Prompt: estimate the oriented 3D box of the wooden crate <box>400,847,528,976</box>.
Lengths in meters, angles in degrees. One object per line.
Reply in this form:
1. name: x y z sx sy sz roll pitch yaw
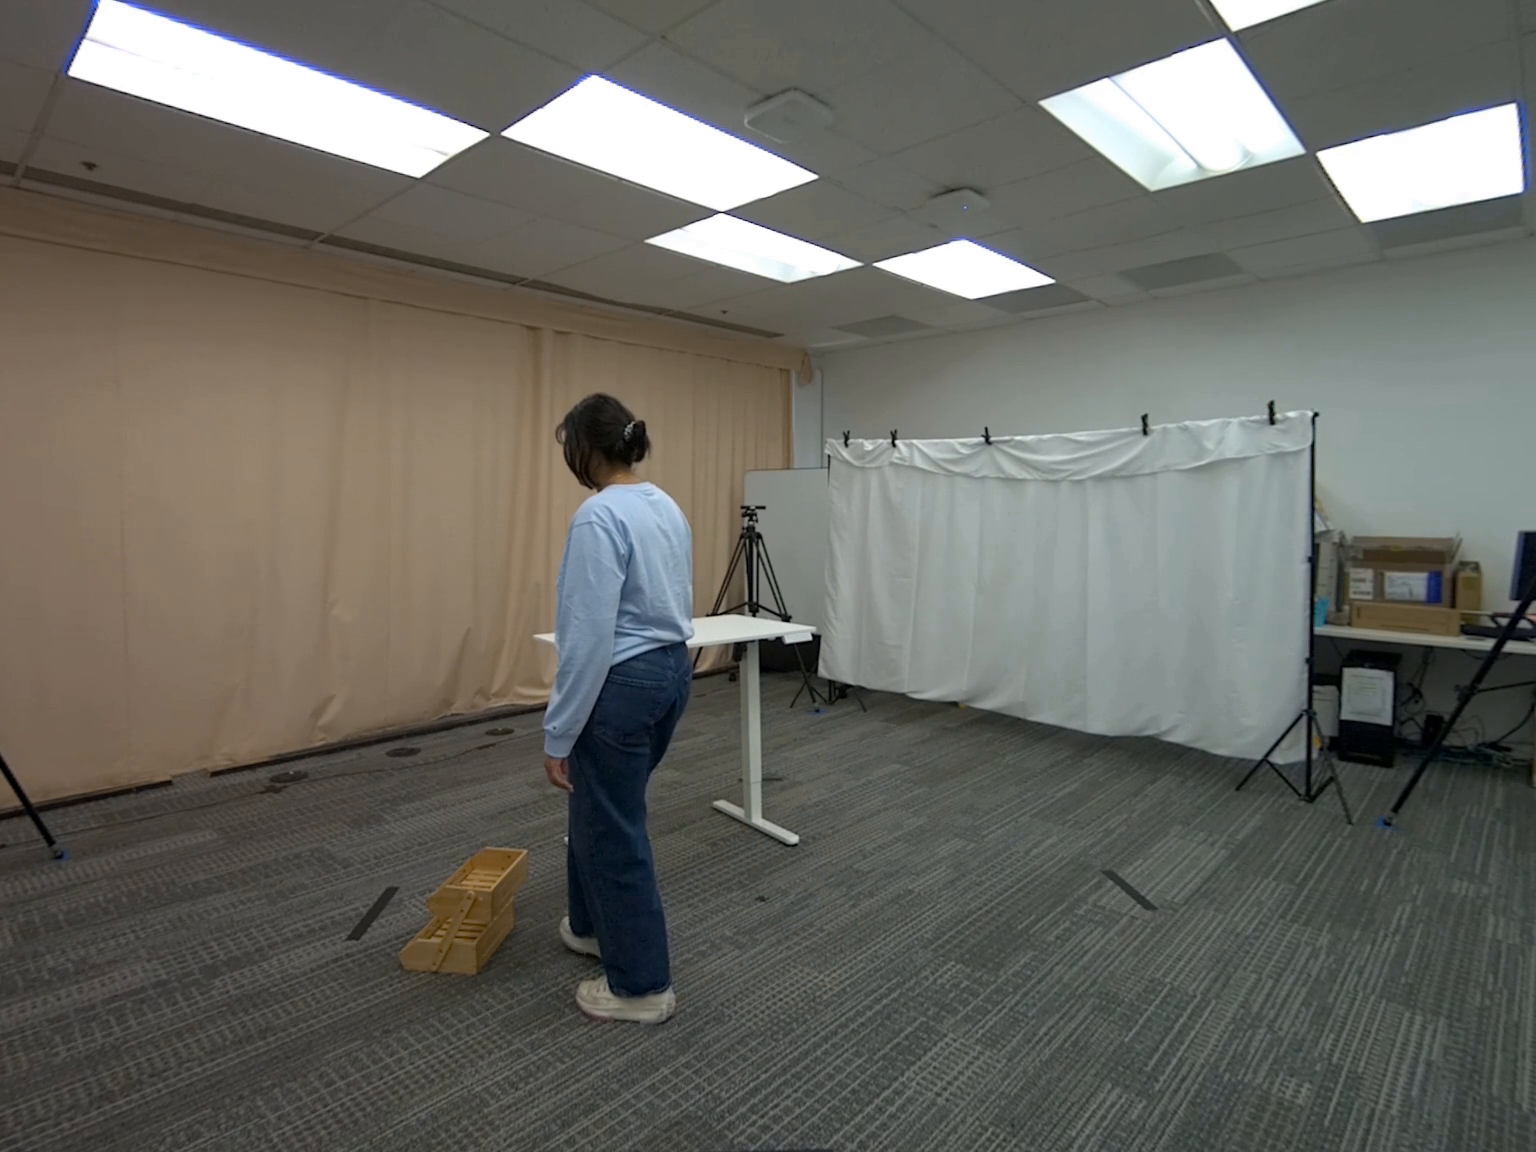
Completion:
1. wooden crate: -0.976 1.052 2.660 0.305 0.273 0.322 0 4 7
